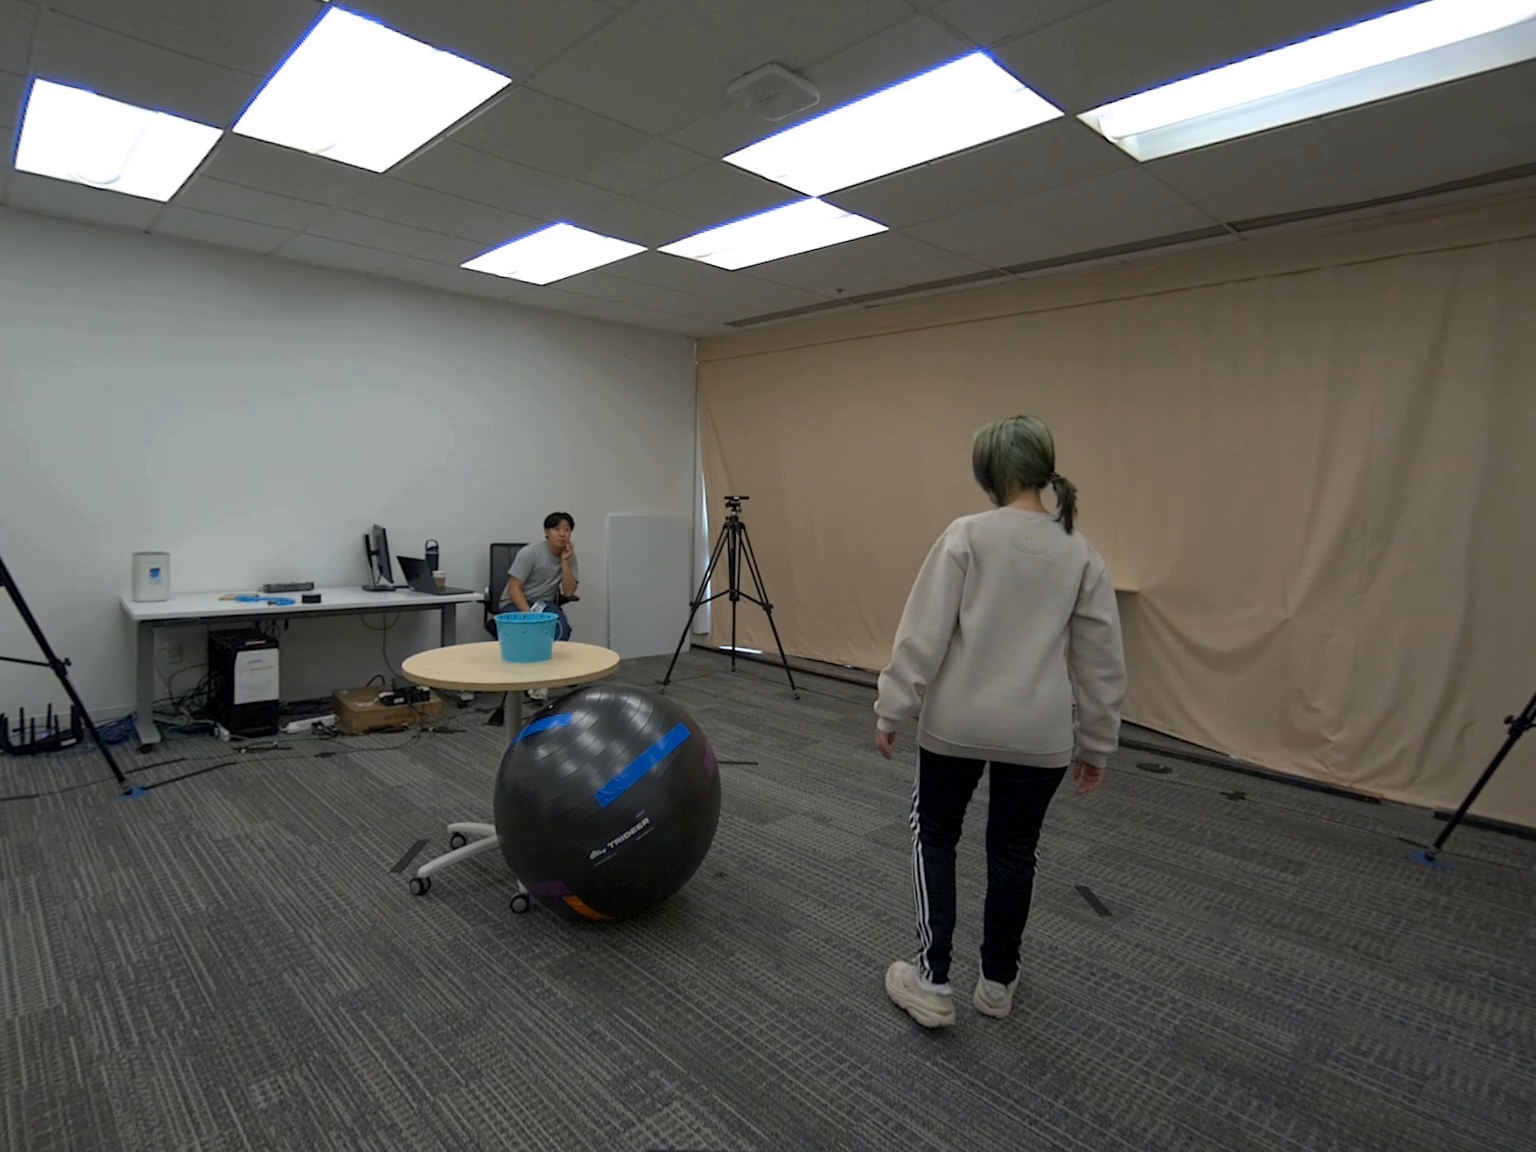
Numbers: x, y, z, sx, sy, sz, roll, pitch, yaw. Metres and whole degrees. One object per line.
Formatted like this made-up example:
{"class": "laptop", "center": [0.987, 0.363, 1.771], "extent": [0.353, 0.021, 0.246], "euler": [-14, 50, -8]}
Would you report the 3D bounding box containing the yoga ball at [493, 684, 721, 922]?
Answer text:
{"class": "yoga ball", "center": [-0.543, 0.750, 2.824], "extent": [0.757, 0.756, 0.761], "euler": [1, 4, -1]}
